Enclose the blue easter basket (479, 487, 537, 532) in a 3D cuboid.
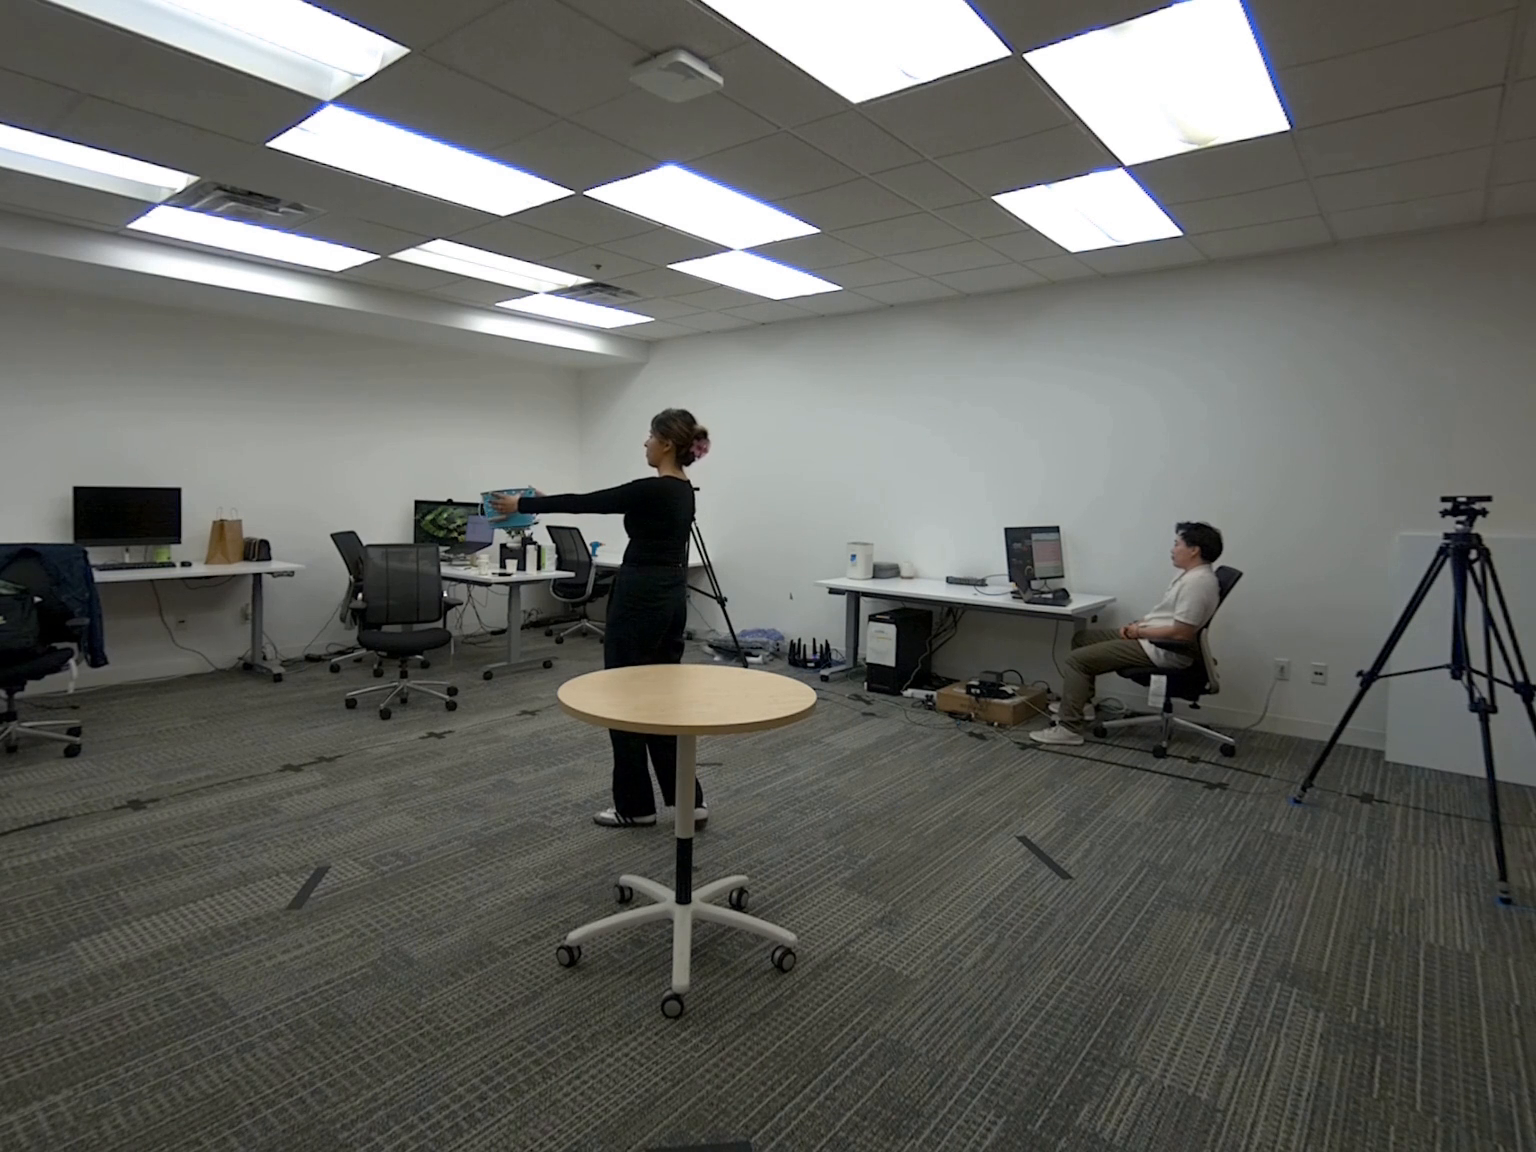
[{"bbox_3d":[-1.107,-0.286,3.587,0.243,0.155,0.245,-4,5,-2],"label":"blue easter basket"}]
